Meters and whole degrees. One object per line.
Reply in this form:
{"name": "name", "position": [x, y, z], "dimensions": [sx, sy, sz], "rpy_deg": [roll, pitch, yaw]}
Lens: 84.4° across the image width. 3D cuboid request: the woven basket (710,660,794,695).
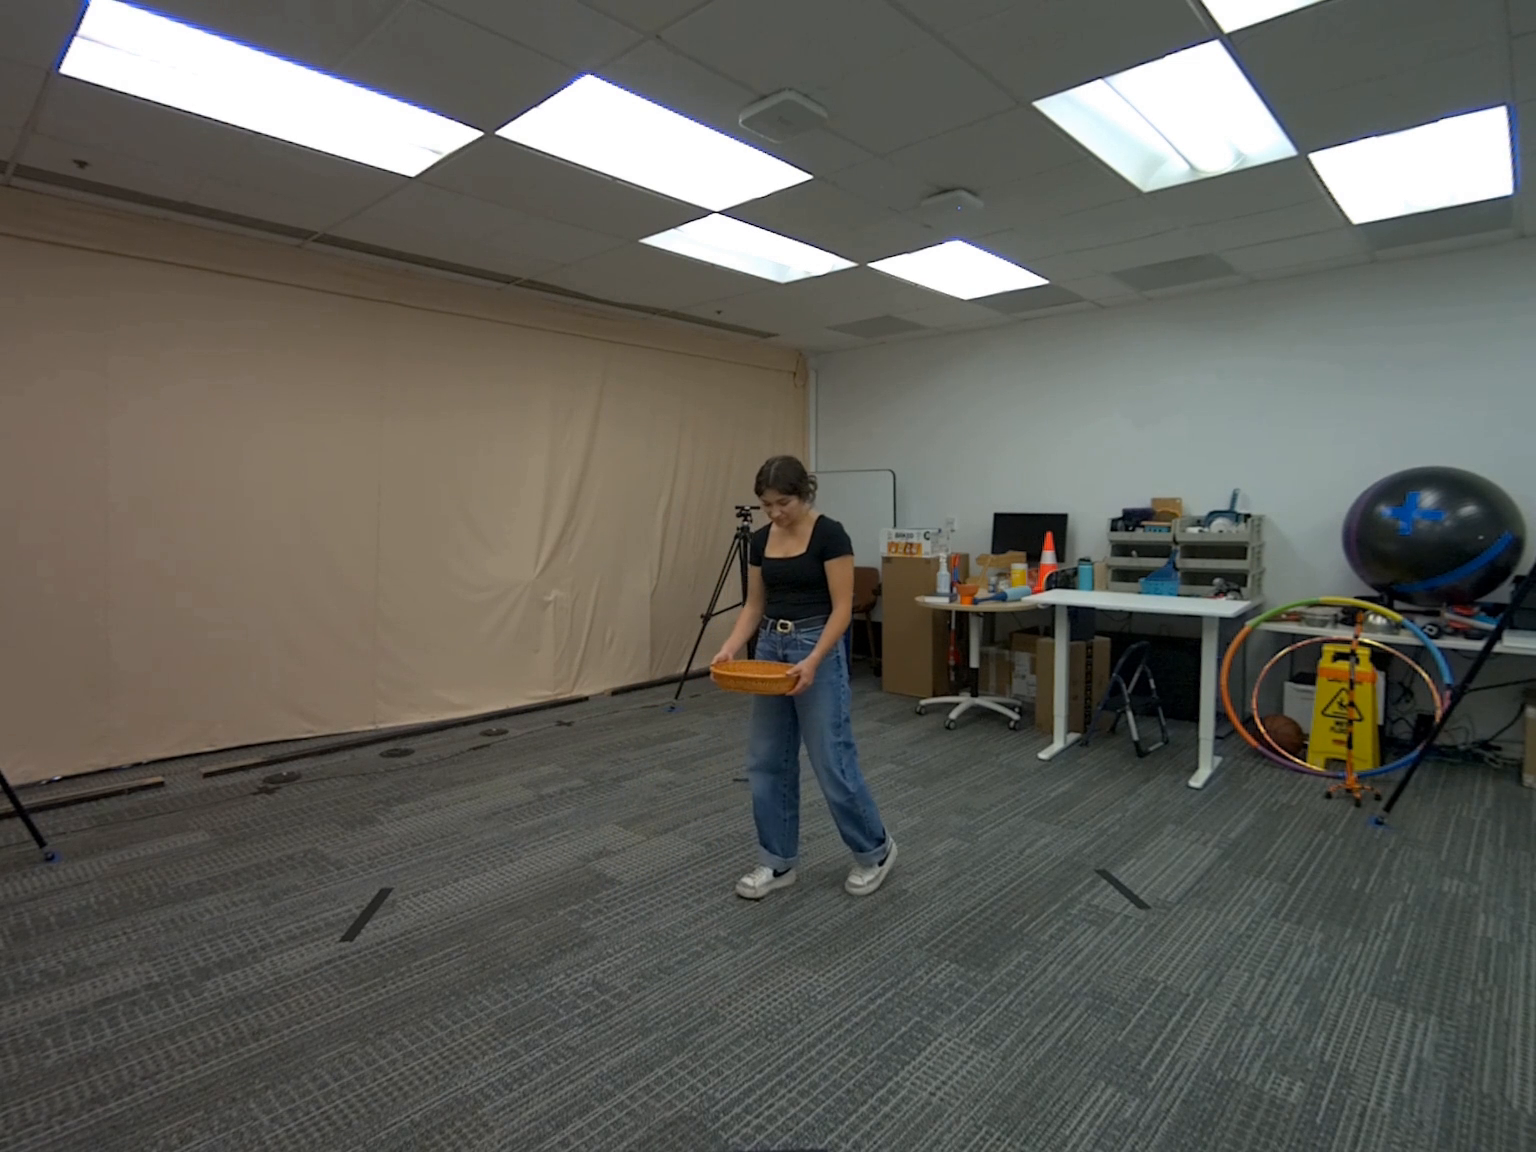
{"name": "woven basket", "position": [-0.044, 0.348, 2.900], "dimensions": [0.362, 0.073, 0.245], "rpy_deg": [1, 4, 43]}
